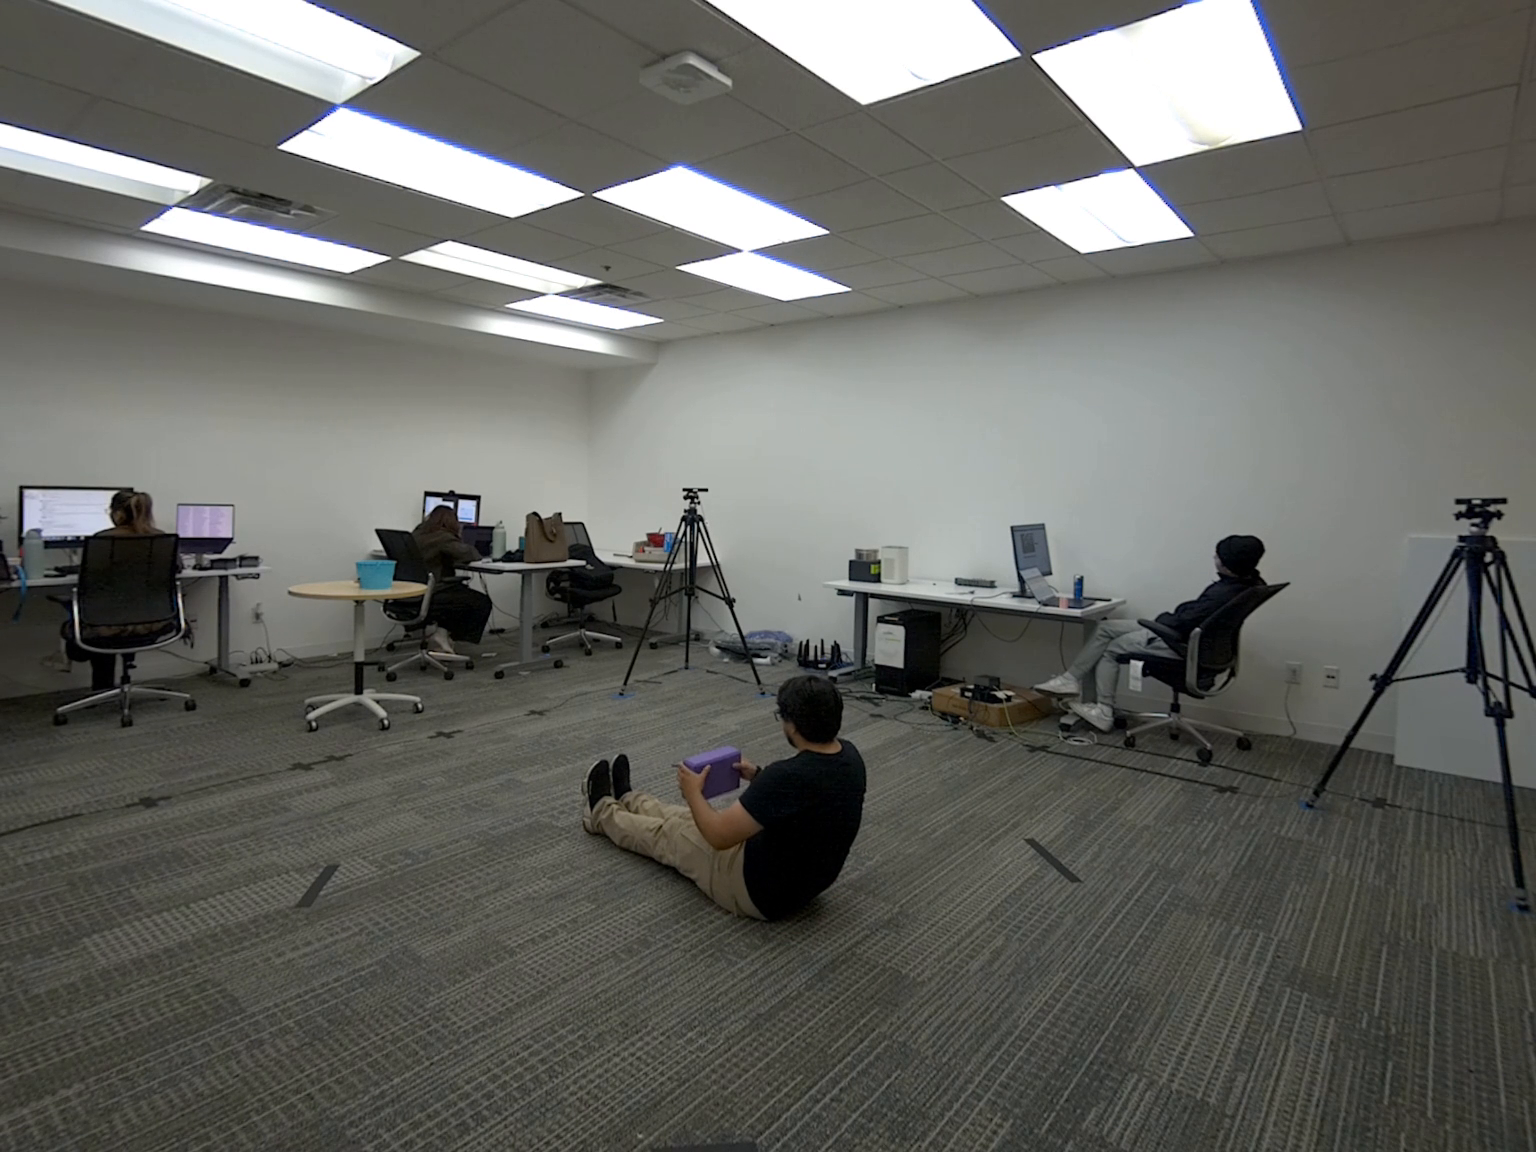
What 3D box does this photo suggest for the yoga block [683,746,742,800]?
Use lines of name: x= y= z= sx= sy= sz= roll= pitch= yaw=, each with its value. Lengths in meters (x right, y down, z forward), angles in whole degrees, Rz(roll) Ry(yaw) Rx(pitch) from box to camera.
yoga block: x=-0.202 y=0.713 z=3.059 sx=0.223 sy=0.148 sz=0.079 roll=-5 pitch=9 yaw=-39
